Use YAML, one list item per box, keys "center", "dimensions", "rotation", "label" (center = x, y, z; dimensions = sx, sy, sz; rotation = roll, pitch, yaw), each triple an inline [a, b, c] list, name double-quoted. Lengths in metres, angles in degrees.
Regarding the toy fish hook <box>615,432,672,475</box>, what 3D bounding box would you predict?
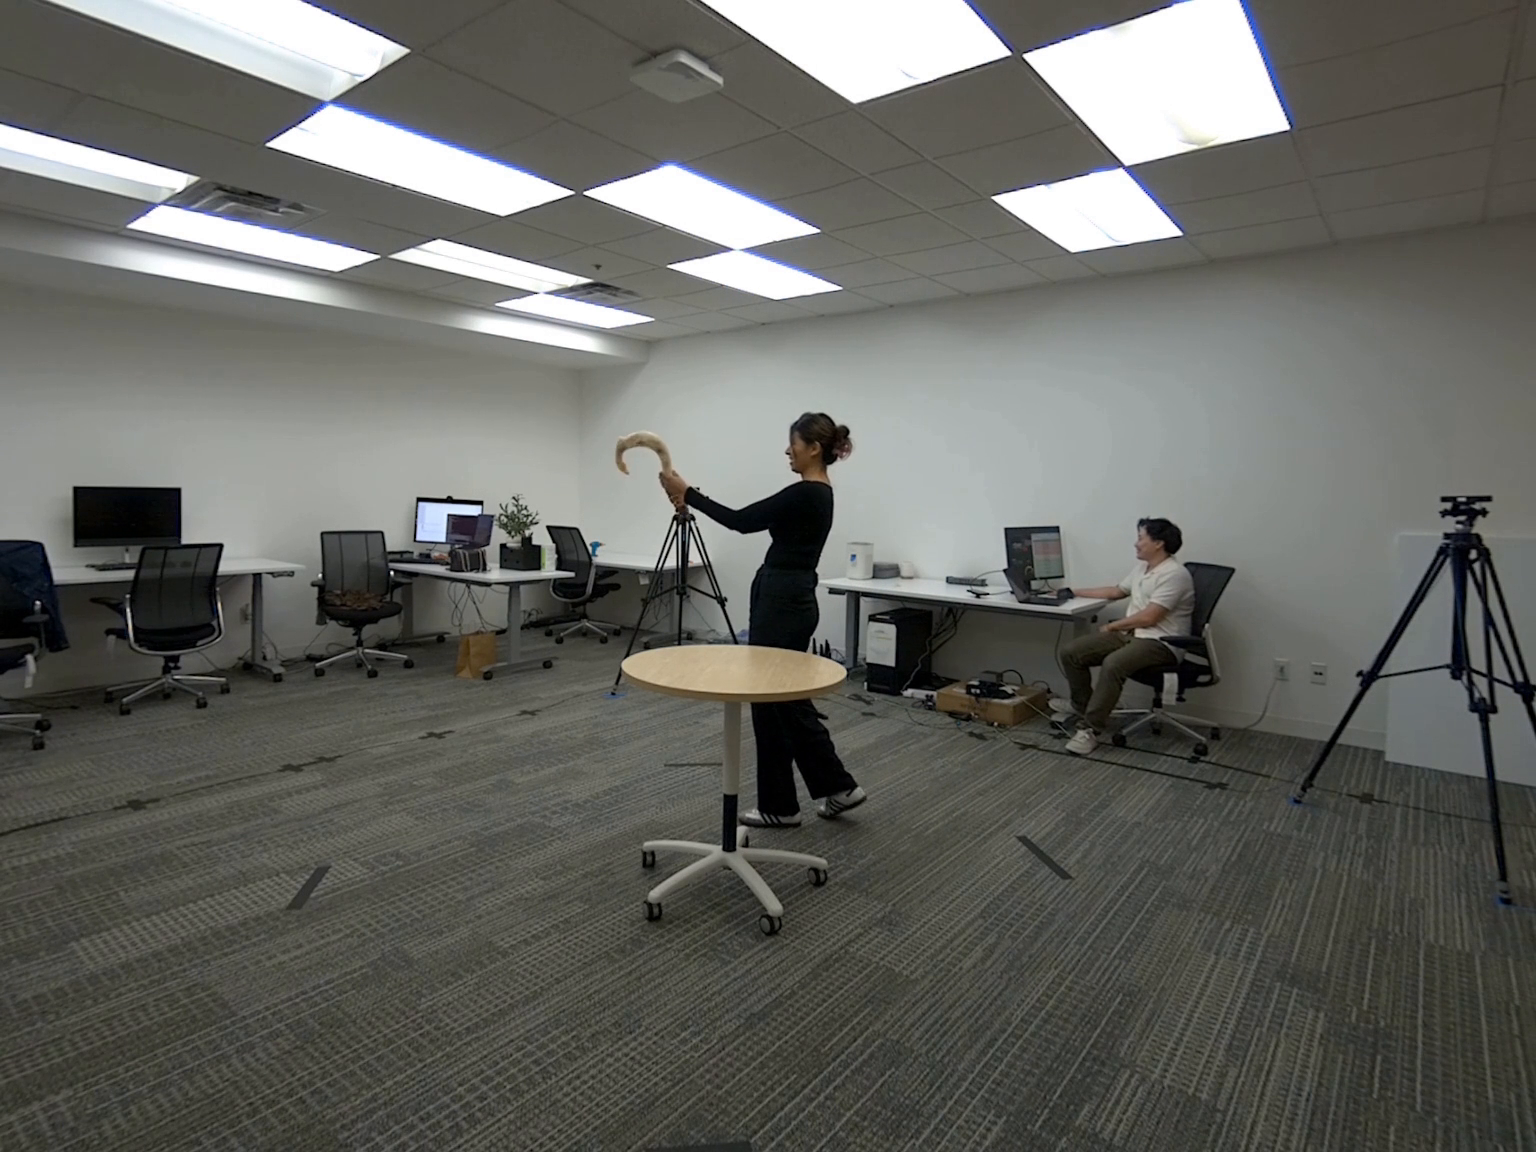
- center: [-0.486, -0.399, 3.501]
  dimensions: [0.227, 0.049, 0.487]
  rotation: [-11, -44, 15]
  label: "toy fish hook"
